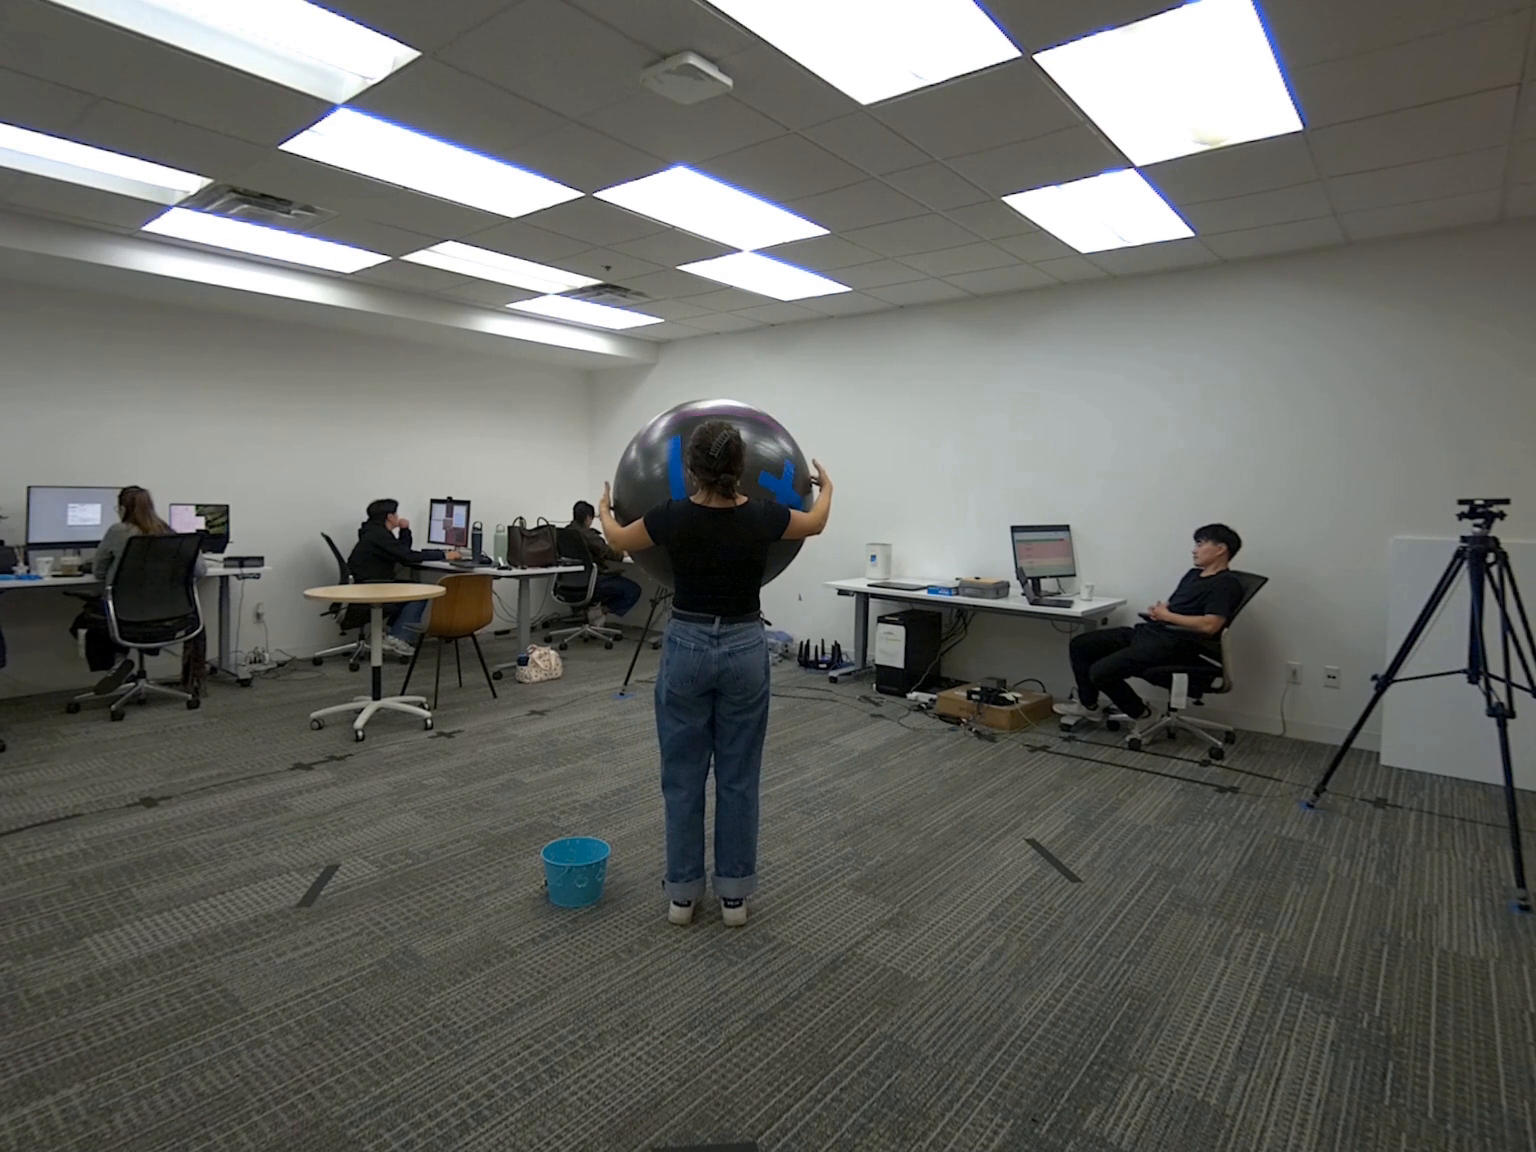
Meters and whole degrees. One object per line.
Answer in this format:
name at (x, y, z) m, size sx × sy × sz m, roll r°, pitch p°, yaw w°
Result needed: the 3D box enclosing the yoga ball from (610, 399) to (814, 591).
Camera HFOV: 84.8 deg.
yoga ball at (-0.218, -0.286, 3.226) m, size 0.757 × 0.755 × 0.762 m, roll 1°, pitch 4°, yaw -2°
